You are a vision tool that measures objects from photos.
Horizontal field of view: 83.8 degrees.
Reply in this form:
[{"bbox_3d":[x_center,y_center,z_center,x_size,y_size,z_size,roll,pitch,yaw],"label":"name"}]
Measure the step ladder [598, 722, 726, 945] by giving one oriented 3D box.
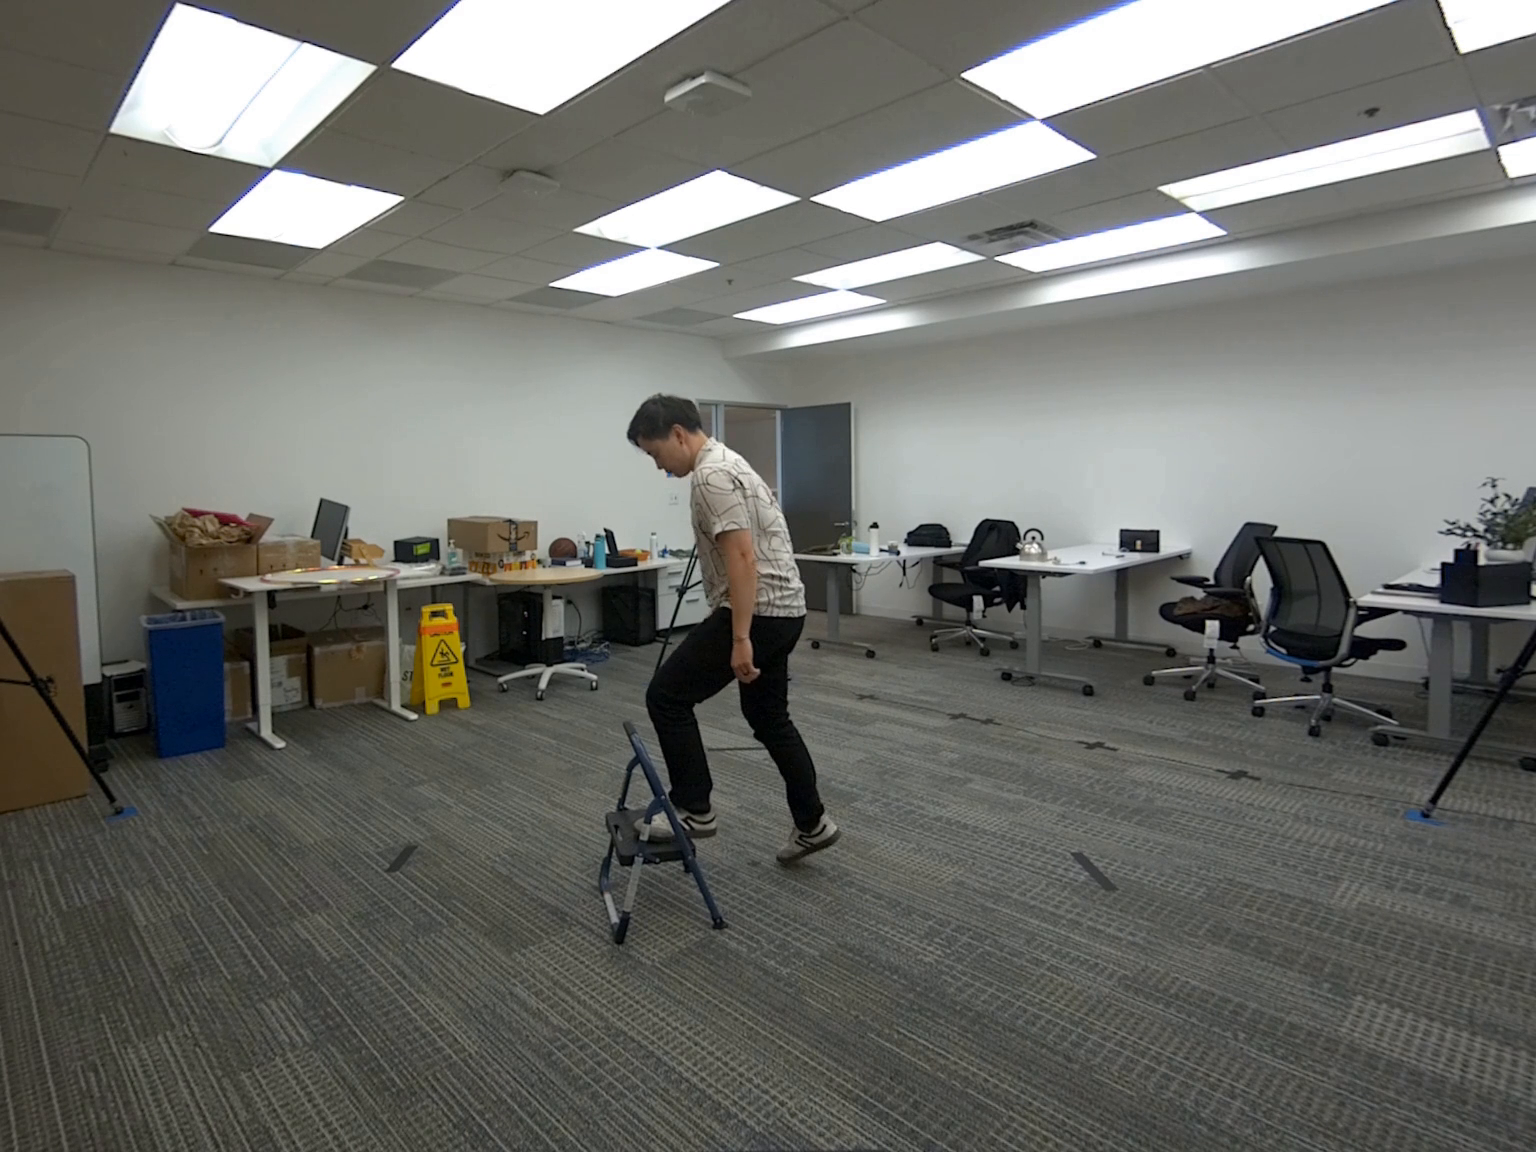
[{"bbox_3d":[-0.364,0.783,2.797,0.344,0.604,0.439,-3,5,-18],"label":"step ladder"}]
